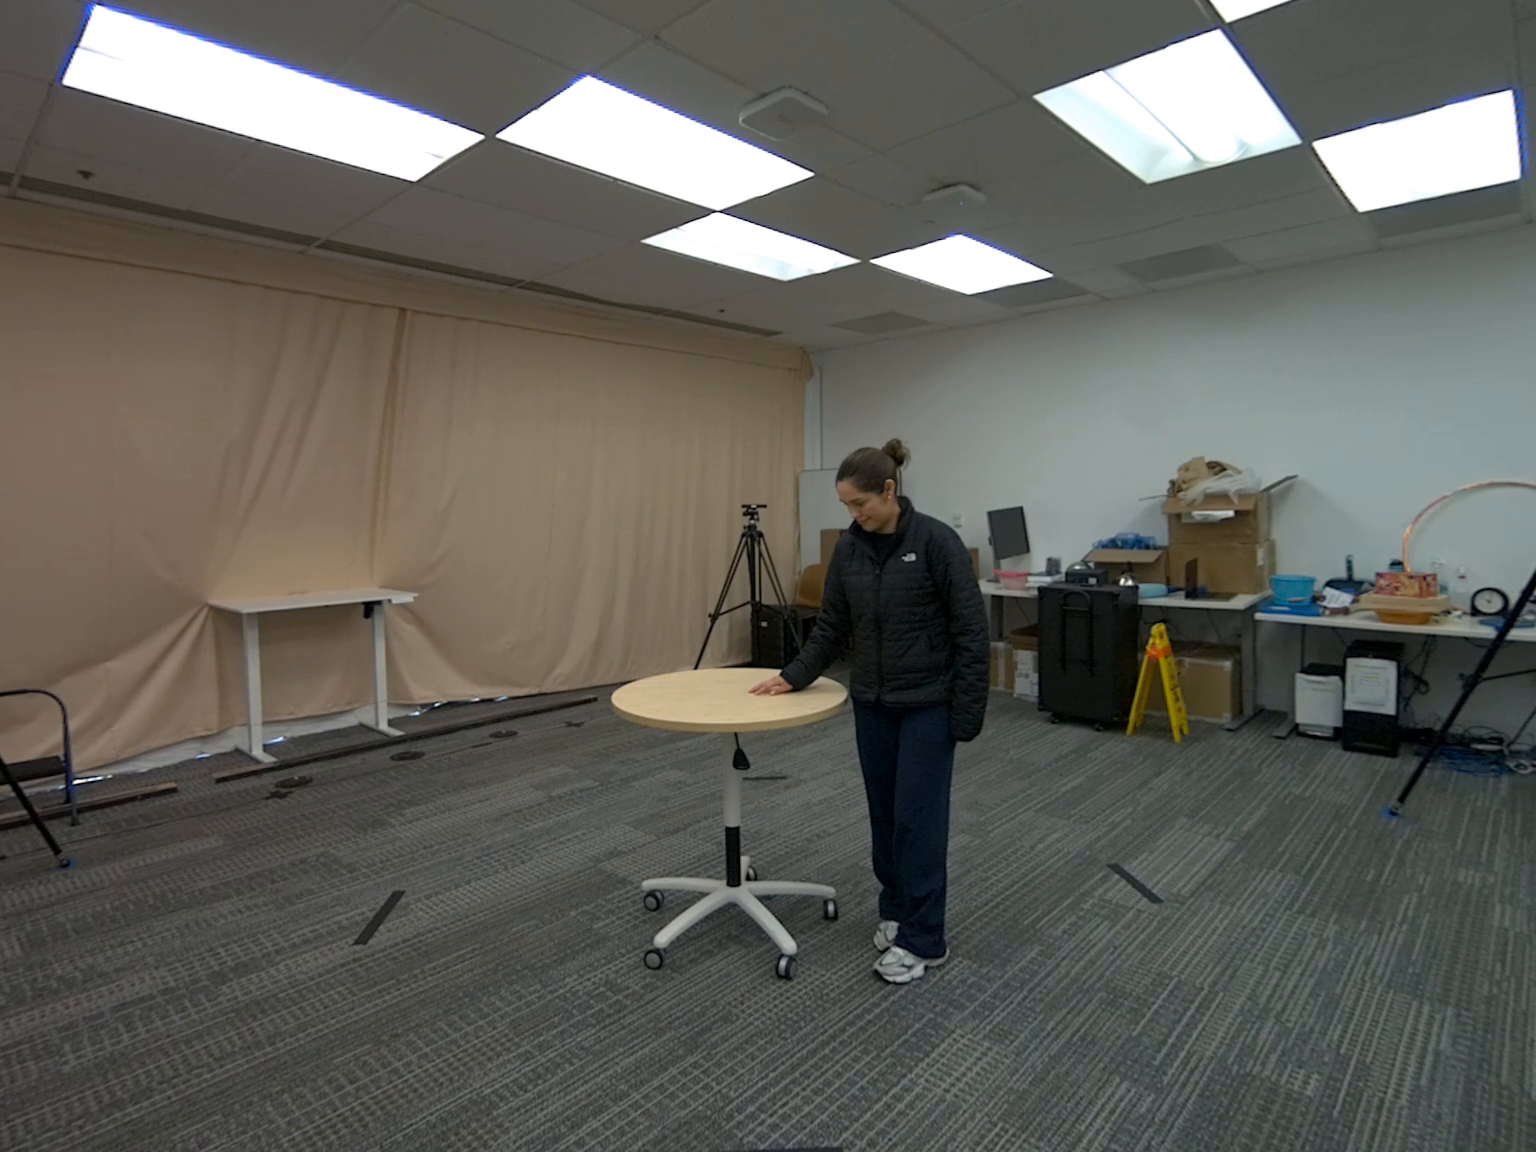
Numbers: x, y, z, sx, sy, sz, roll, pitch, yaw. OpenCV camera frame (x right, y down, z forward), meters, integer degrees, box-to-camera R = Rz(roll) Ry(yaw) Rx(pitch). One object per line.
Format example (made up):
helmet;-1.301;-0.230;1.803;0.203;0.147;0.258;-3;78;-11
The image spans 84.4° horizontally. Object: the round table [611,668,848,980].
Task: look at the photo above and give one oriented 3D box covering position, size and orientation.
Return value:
round table;-0.117;0.768;2.778;0.784;0.784;0.788;-1;4;-2
